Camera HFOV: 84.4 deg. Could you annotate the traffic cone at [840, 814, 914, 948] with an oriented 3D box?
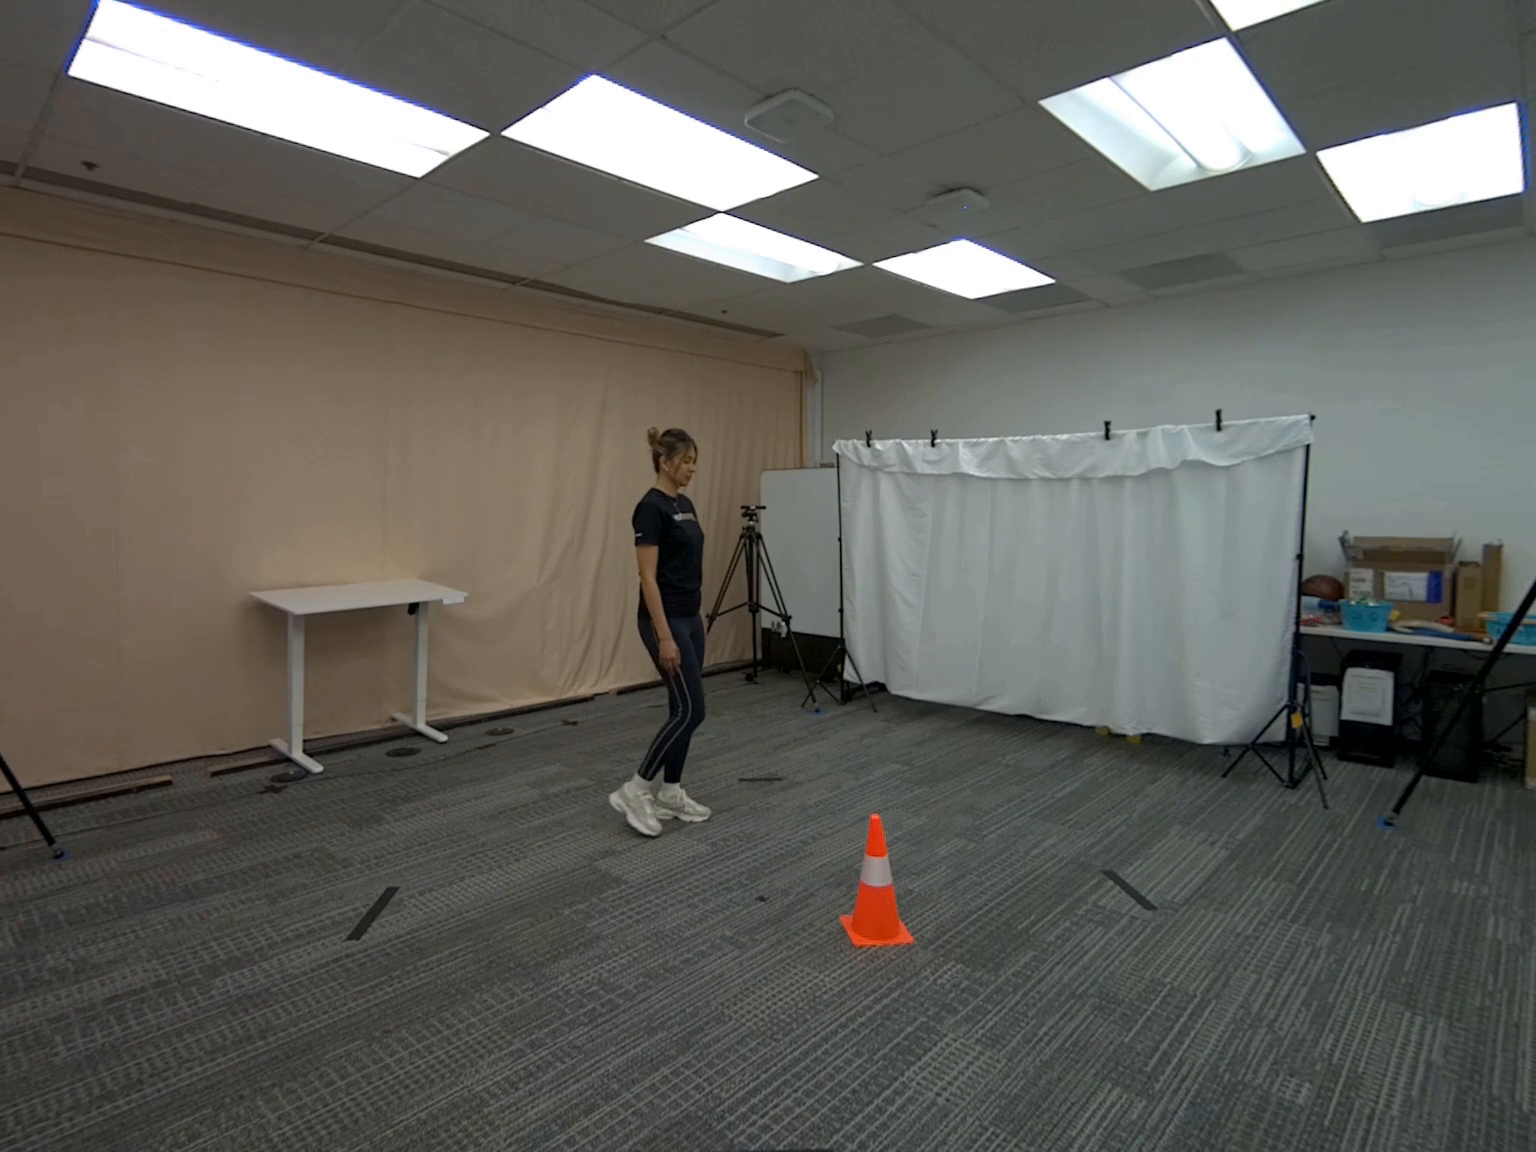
[{"bbox_3d":[0.361,0.974,2.759,0.201,0.383,0.207,0,2,-10],"label":"traffic cone"}]
